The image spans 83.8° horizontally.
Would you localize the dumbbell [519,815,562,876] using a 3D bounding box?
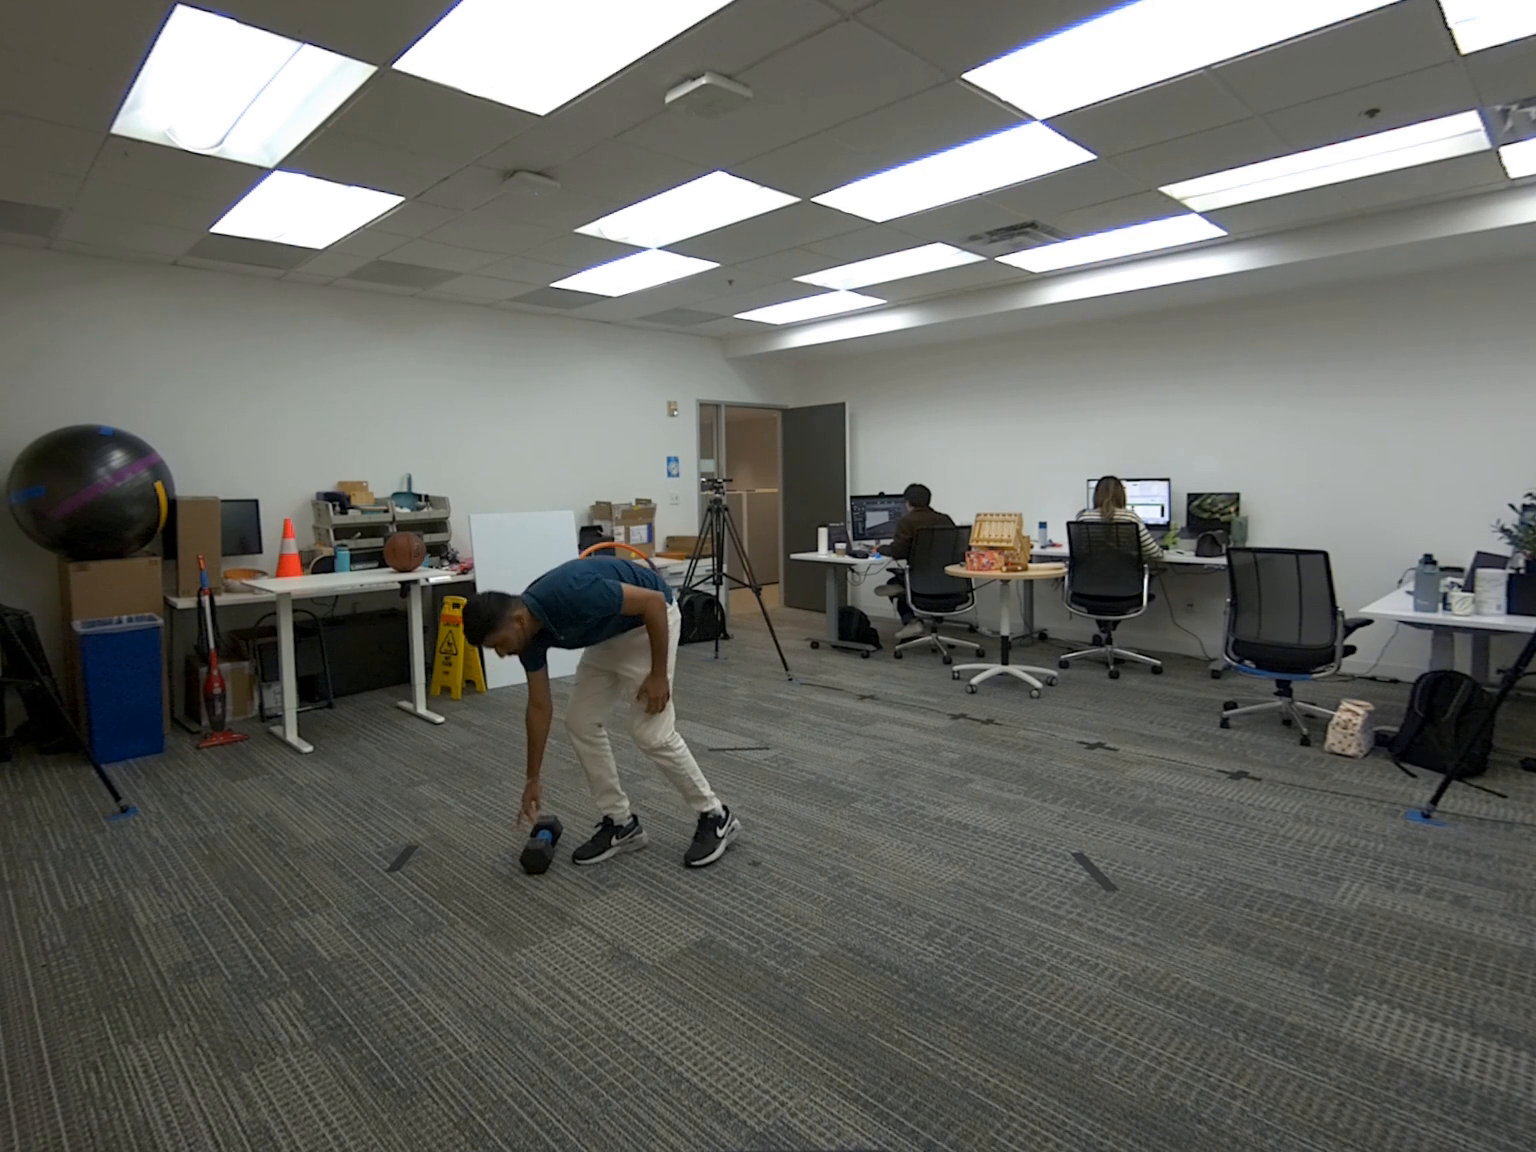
[{"bbox_3d":[-0.845,0.998,3.184,0.108,0.123,0.296,29,2,-9],"label":"dumbbell"}]
